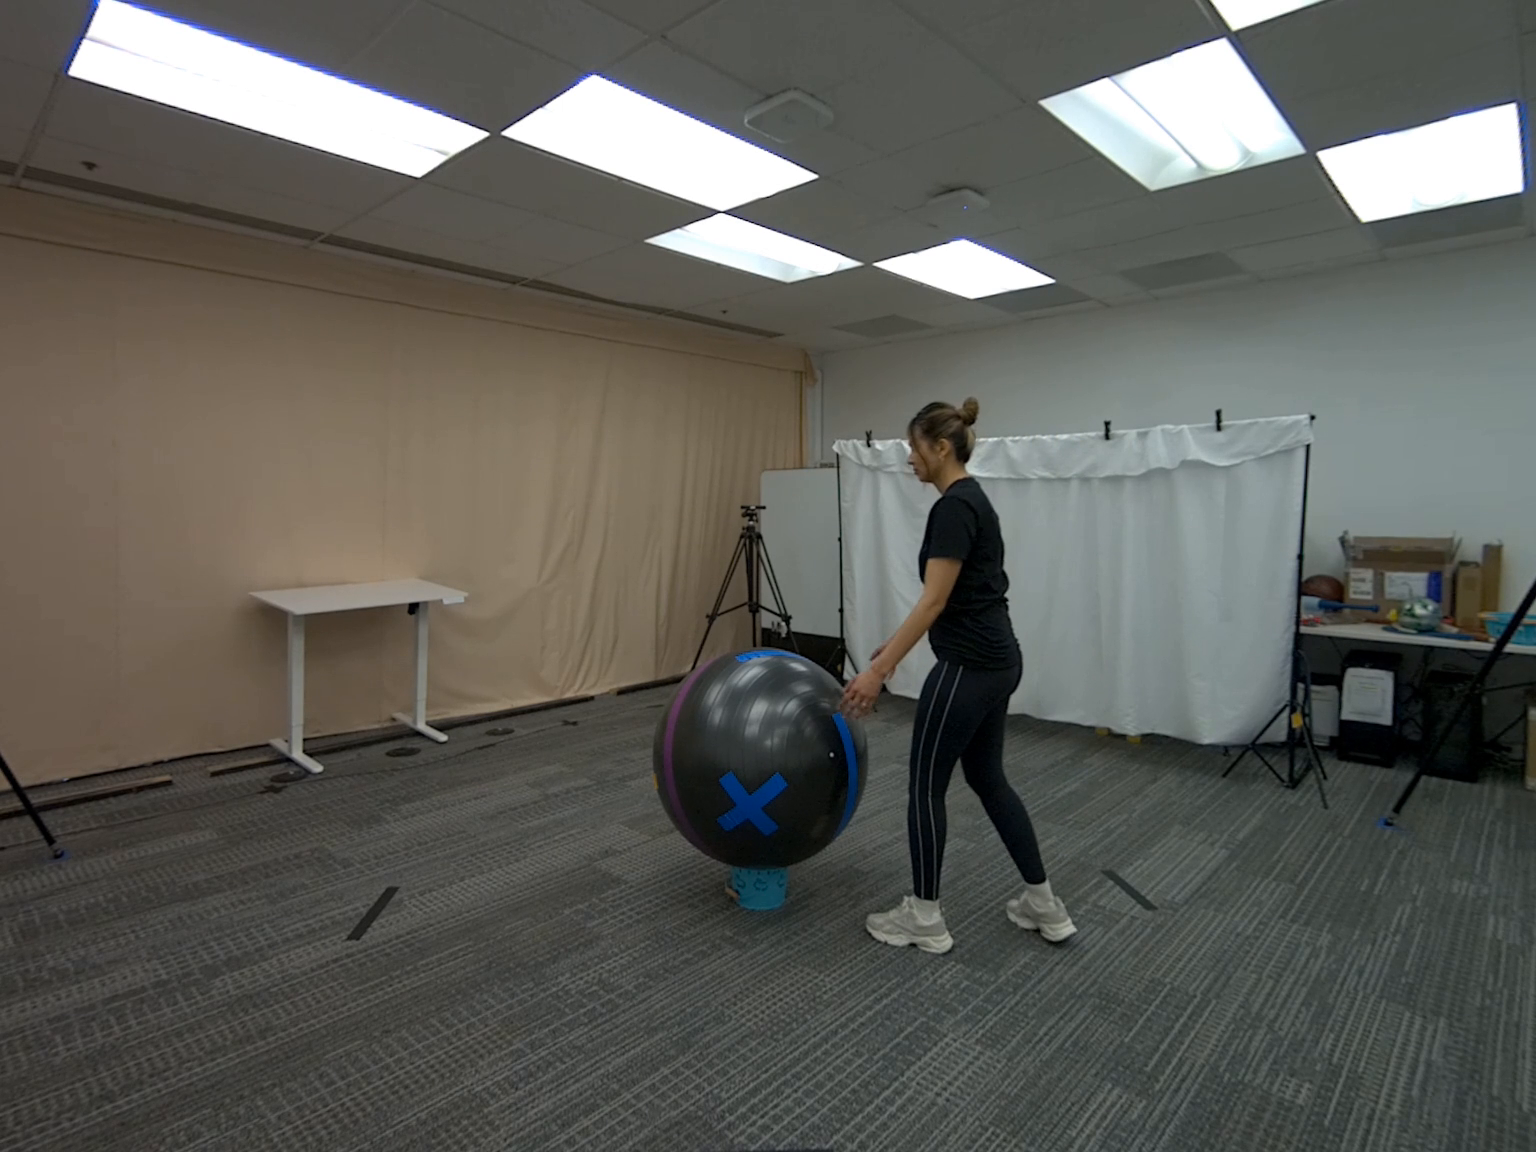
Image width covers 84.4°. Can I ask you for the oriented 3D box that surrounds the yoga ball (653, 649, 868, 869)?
[{"bbox_3d":[-0.030,0.635,2.971,0.757,0.756,0.760,0,4,-2],"label":"yoga ball"}]
